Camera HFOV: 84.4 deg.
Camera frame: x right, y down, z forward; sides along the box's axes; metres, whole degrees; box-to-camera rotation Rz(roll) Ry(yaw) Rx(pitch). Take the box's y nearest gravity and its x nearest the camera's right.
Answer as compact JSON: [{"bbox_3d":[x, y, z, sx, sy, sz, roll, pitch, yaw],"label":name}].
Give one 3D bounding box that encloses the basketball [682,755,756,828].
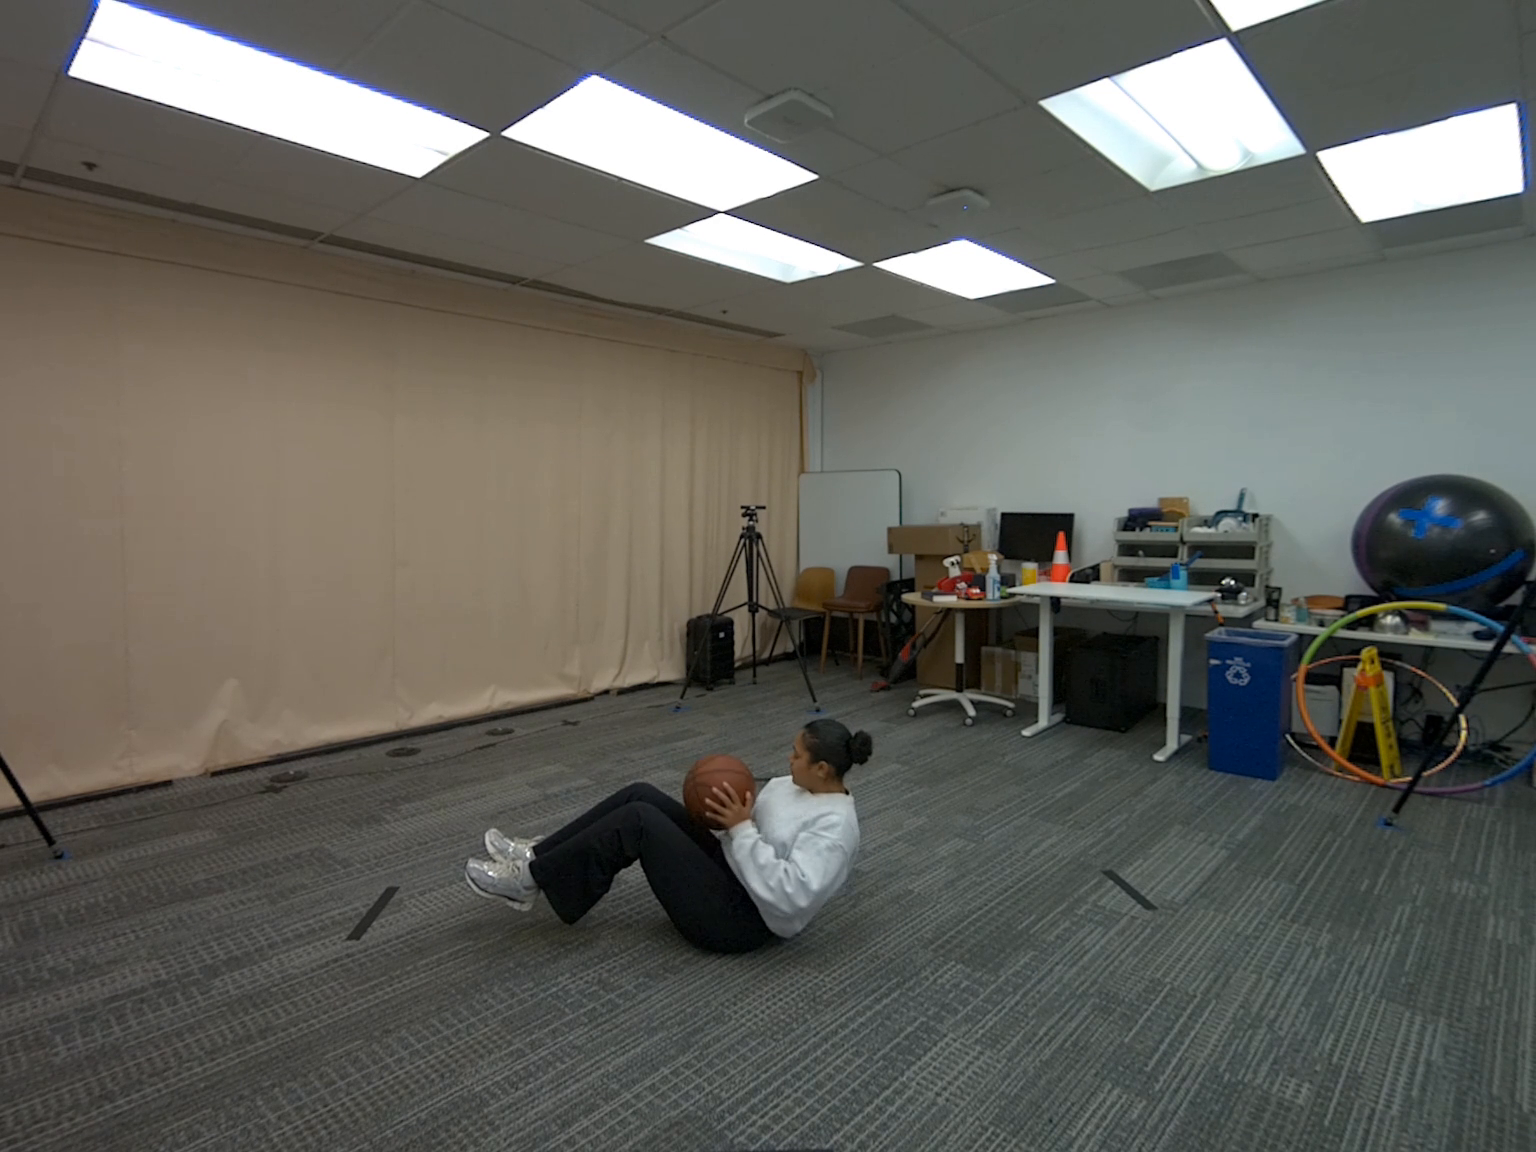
[{"bbox_3d":[-0.128,0.728,2.700,0.236,0.235,0.237,0,4,-2],"label":"basketball"}]
